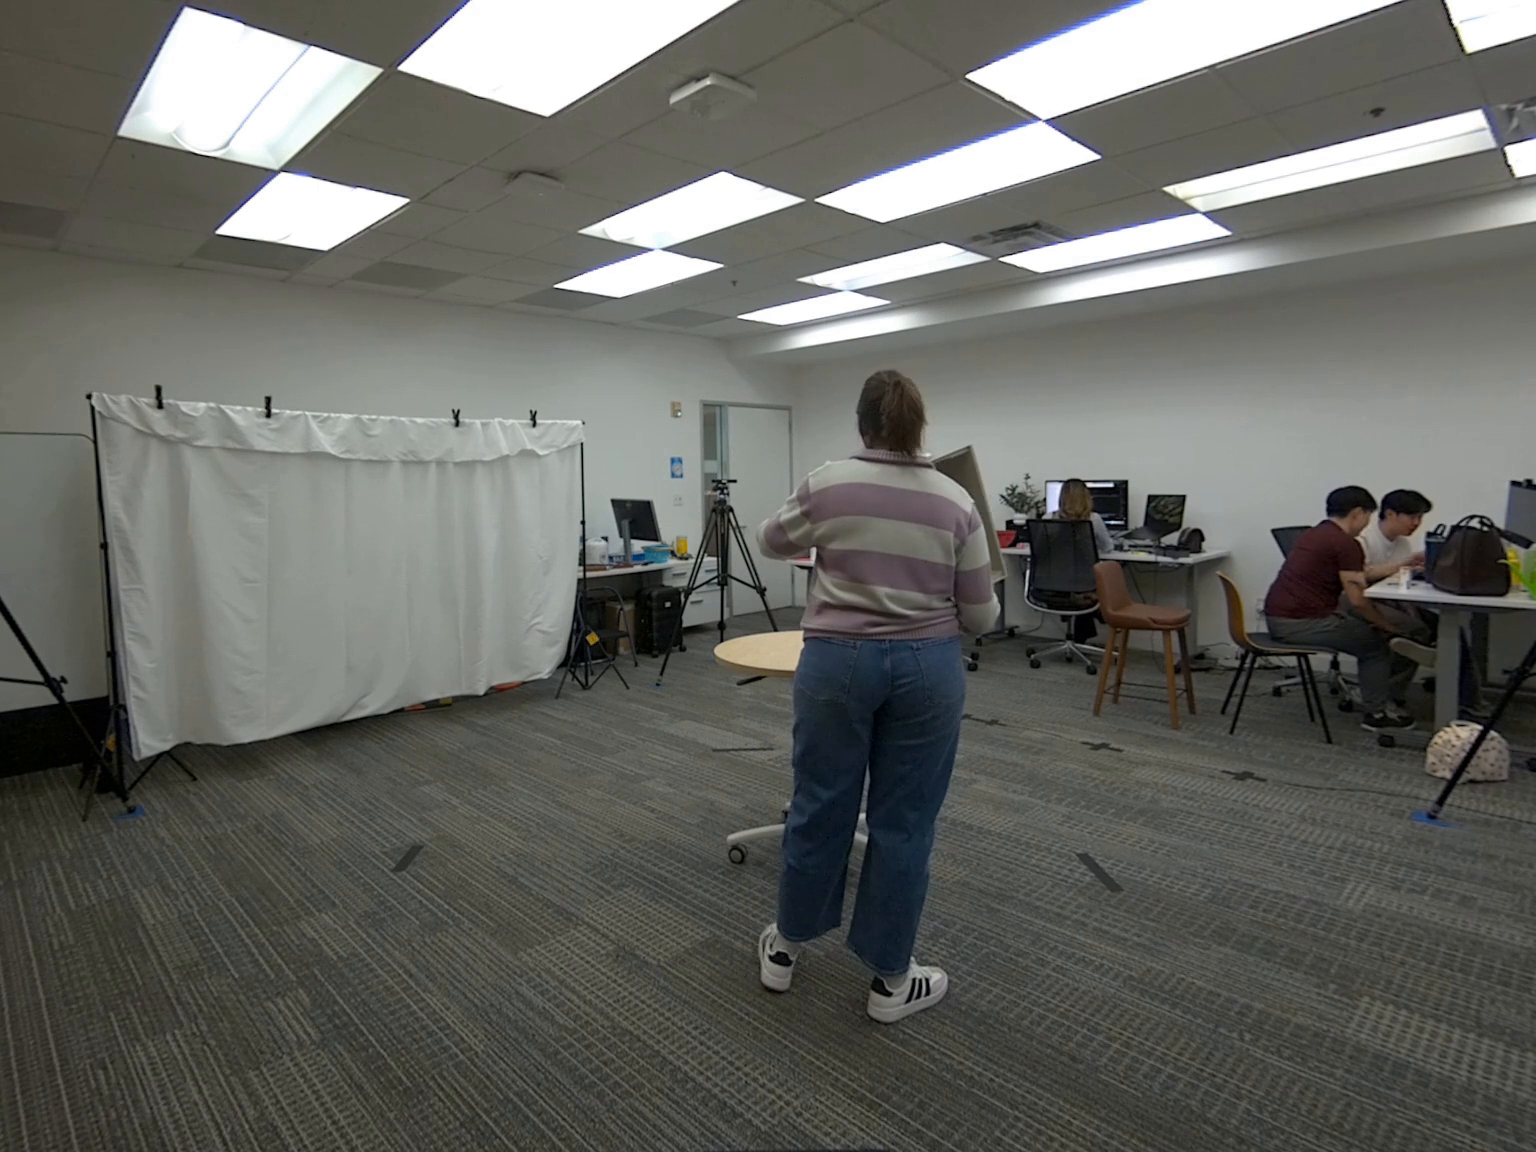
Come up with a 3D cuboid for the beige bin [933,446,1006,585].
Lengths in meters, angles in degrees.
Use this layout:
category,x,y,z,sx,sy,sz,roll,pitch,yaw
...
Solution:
category,x,y,z,sx,sy,sz,roll,pitch,yaw
beige bin,0.482,-0.133,2.568,0.372,0.418,0.193,-24,10,-28
